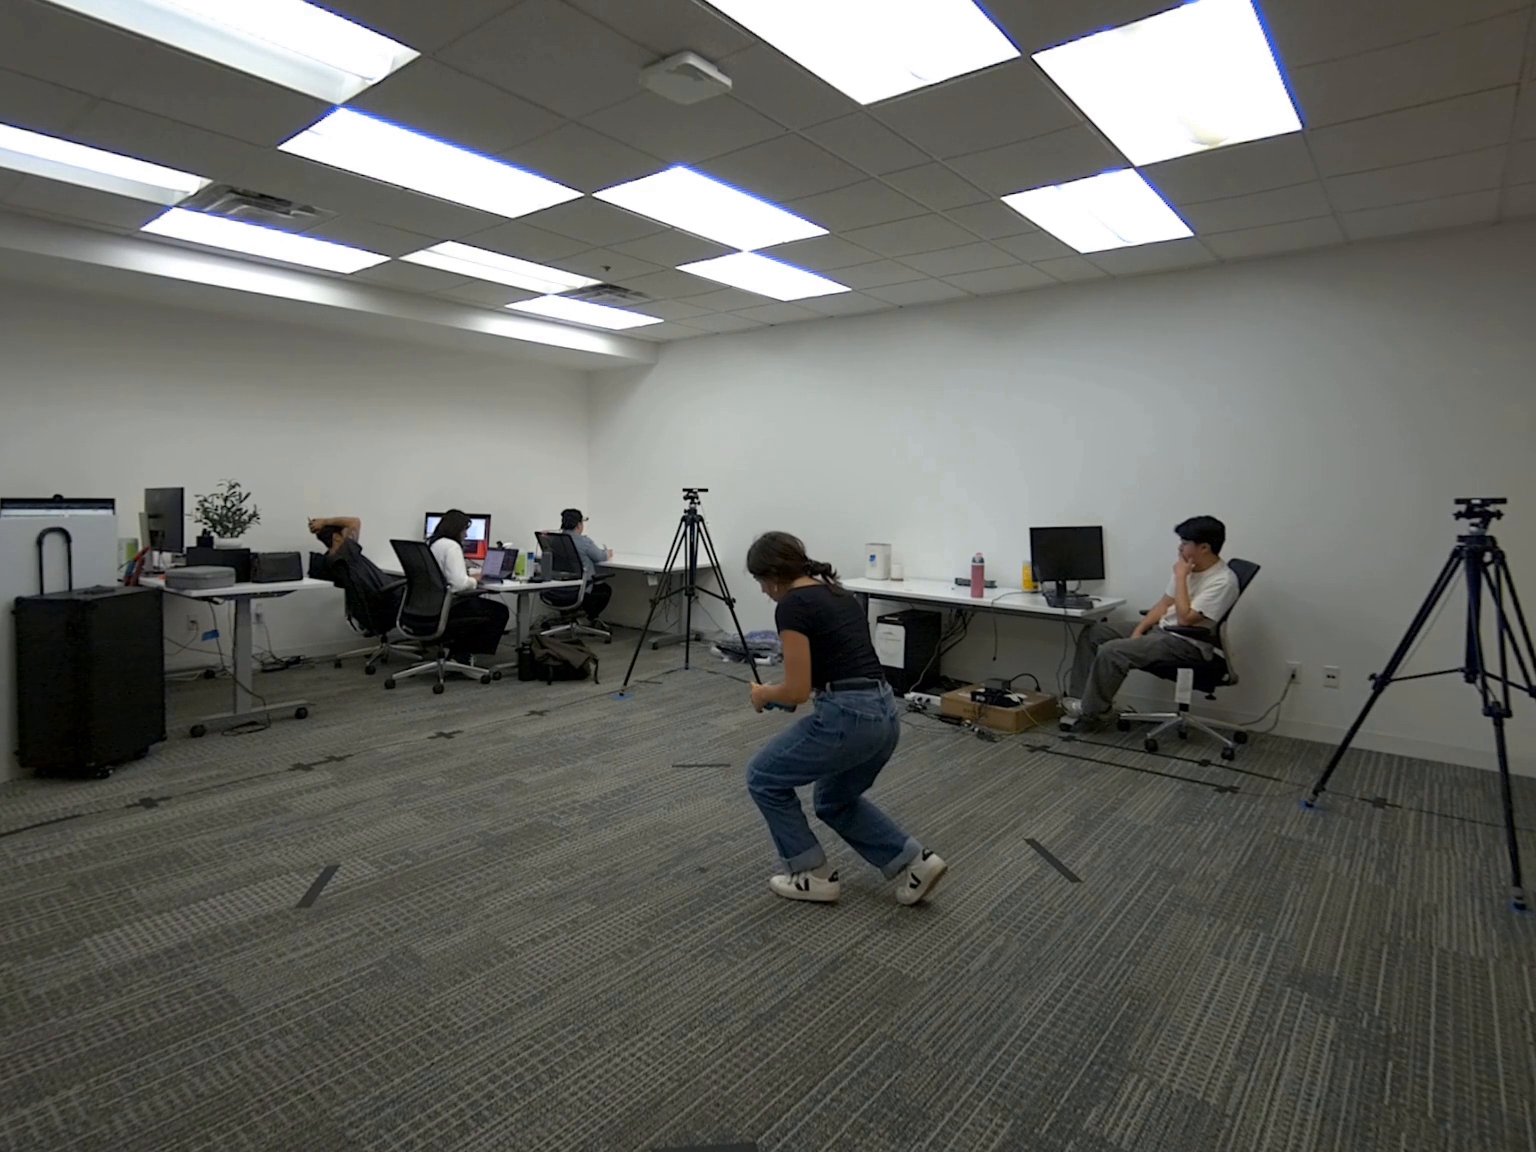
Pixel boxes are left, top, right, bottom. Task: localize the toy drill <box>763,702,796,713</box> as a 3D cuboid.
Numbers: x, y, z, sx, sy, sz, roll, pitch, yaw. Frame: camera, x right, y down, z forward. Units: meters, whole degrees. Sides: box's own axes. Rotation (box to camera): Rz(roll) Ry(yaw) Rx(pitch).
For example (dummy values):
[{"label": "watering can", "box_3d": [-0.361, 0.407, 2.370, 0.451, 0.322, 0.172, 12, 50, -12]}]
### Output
[{"label": "toy drill", "box_3d": [0.016, 0.440, 3.052, 0.142, 0.061, 0.174, 23, 4, -20]}]
